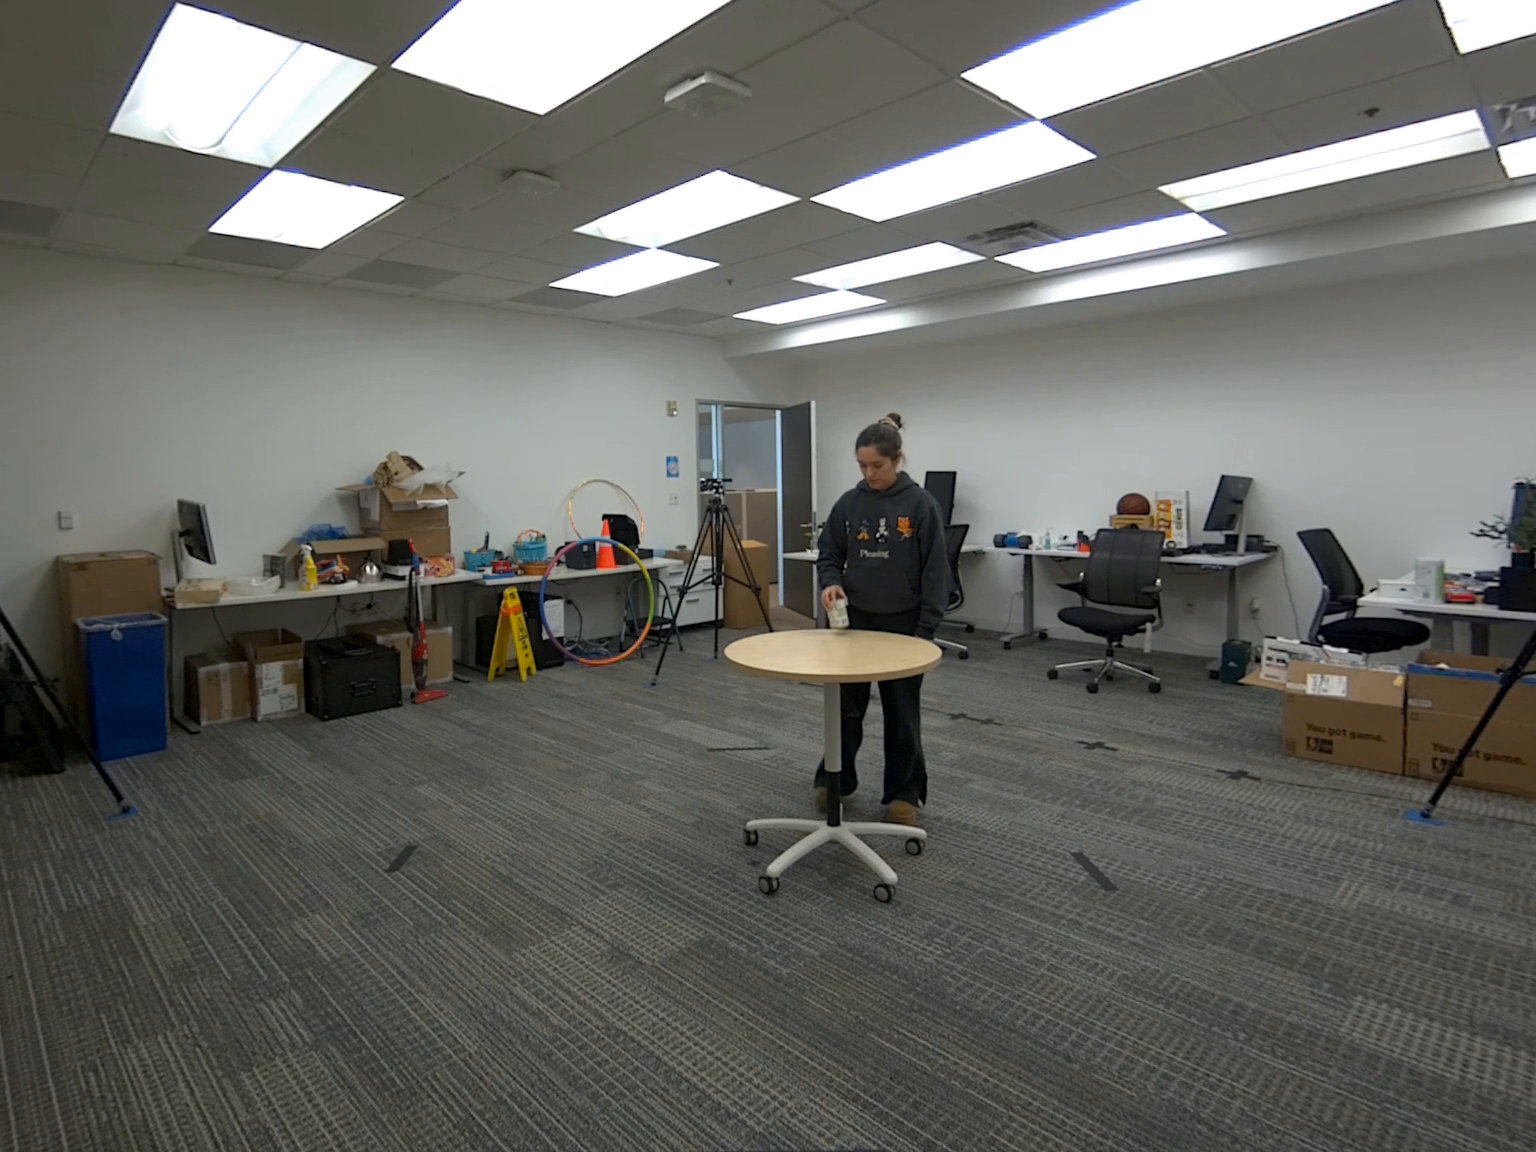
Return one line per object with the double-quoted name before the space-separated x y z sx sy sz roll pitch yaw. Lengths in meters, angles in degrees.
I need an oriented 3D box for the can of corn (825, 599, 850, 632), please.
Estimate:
"can of corn" 0.273 0.147 3.311 0.074 0.111 0.074 -8 3 -1
